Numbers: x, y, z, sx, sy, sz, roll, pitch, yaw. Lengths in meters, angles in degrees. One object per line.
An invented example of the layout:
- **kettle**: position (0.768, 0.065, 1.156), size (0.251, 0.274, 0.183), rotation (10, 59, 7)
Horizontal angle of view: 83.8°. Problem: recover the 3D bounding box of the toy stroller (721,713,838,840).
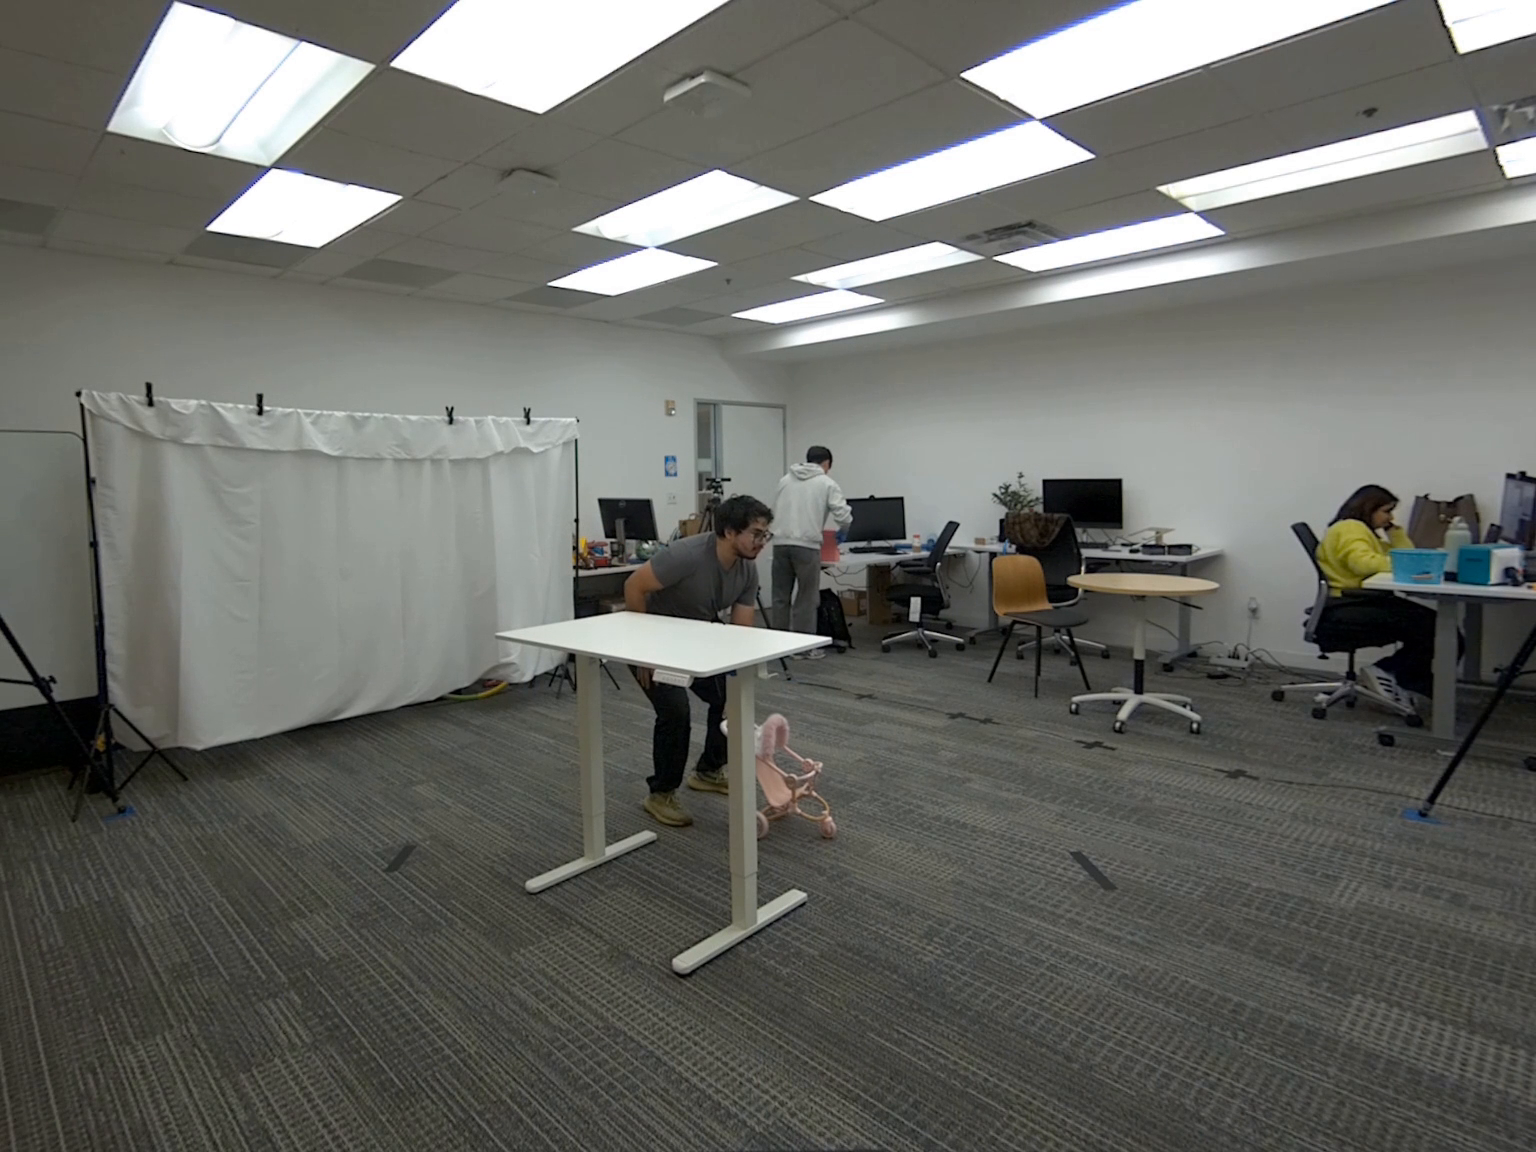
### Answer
- **toy stroller**: position (0.056, 0.787, 3.384), size (0.347, 0.537, 0.275), rotation (-18, -4, 29)
